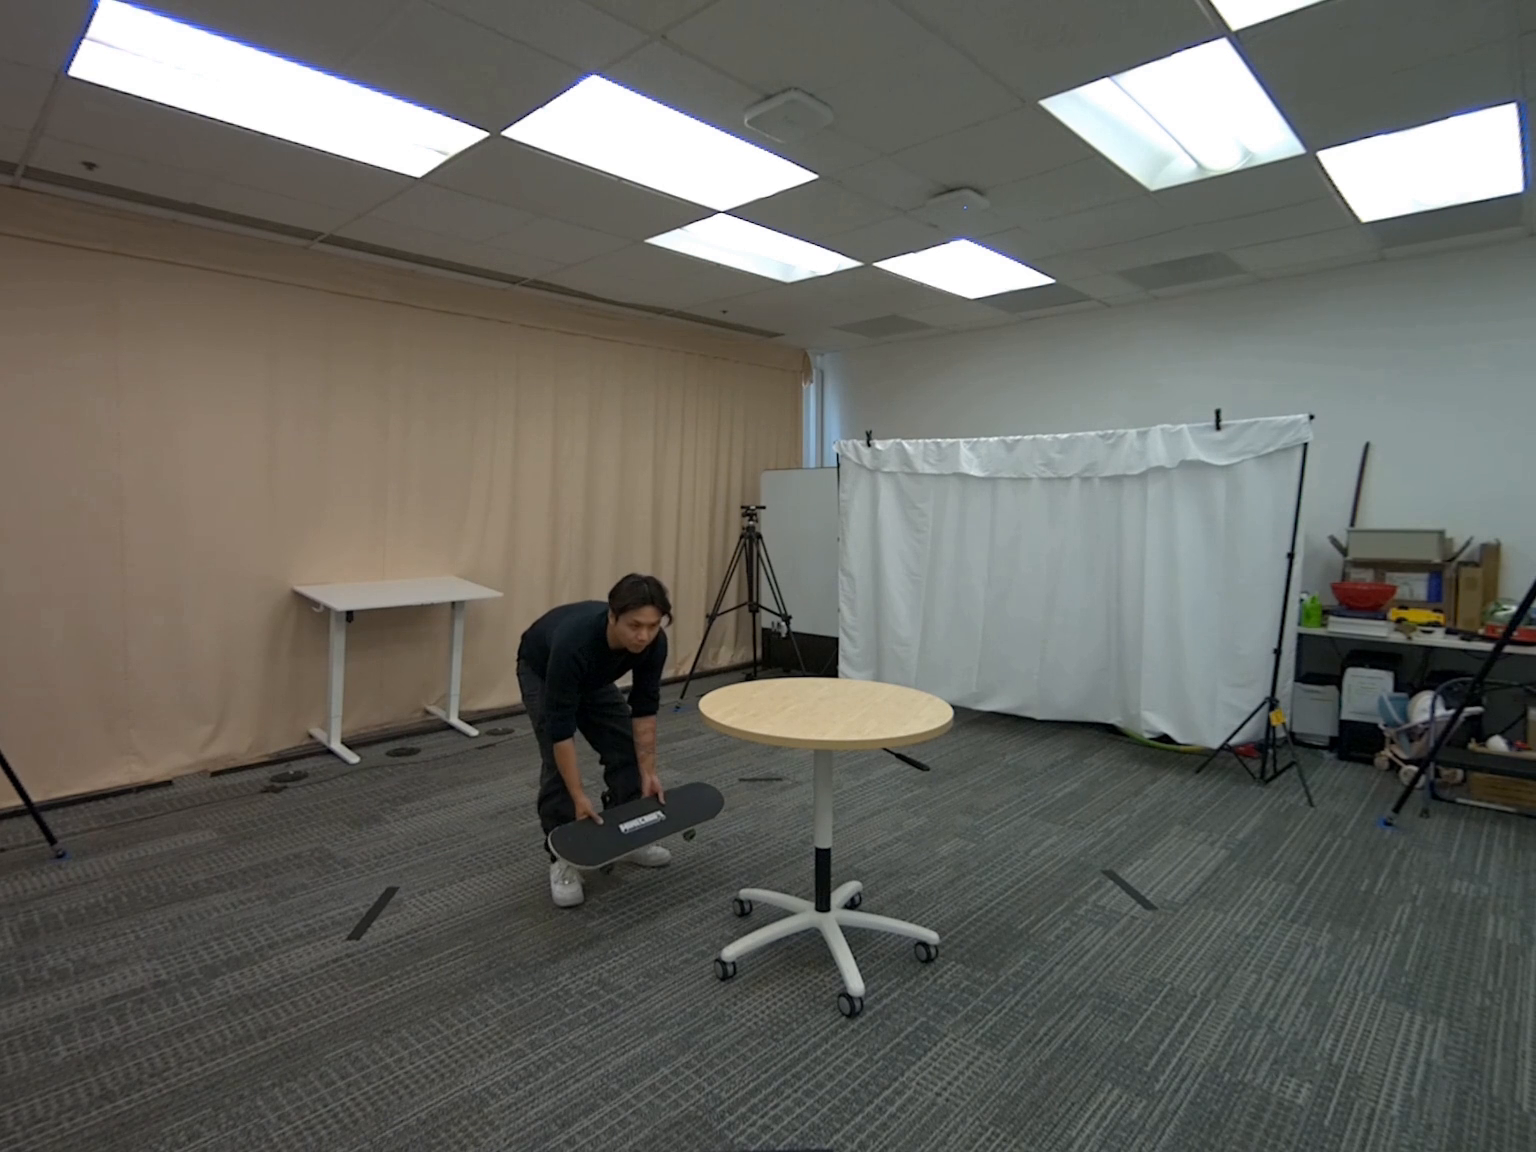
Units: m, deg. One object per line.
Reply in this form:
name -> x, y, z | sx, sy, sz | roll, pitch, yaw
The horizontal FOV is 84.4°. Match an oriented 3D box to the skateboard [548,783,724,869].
skateboard -> -0.441, 0.903, 2.954 | 0.200, 0.110, 0.762 | 34, 24, 32
